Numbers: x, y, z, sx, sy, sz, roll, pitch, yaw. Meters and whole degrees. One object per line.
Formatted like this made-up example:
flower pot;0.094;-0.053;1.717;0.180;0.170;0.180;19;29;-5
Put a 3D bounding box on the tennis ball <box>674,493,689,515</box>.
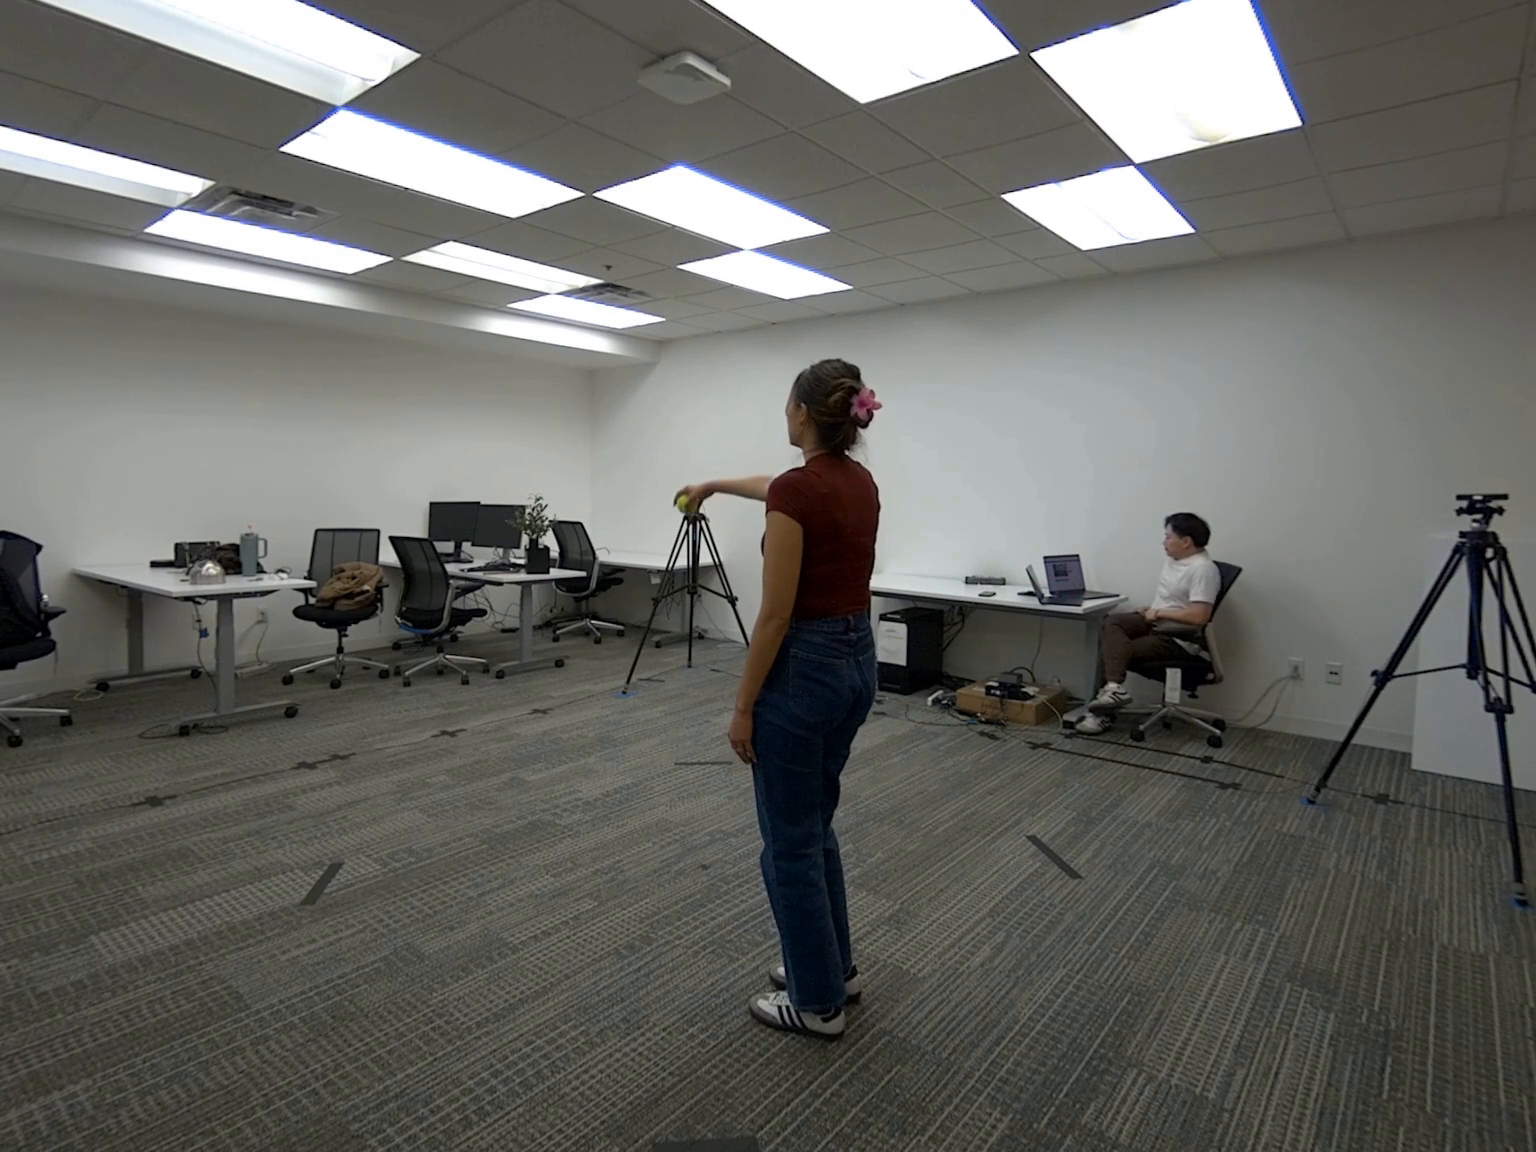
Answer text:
tennis ball;-0.273;-0.220;2.750;0.066;0.066;0.067;1;4;-2
